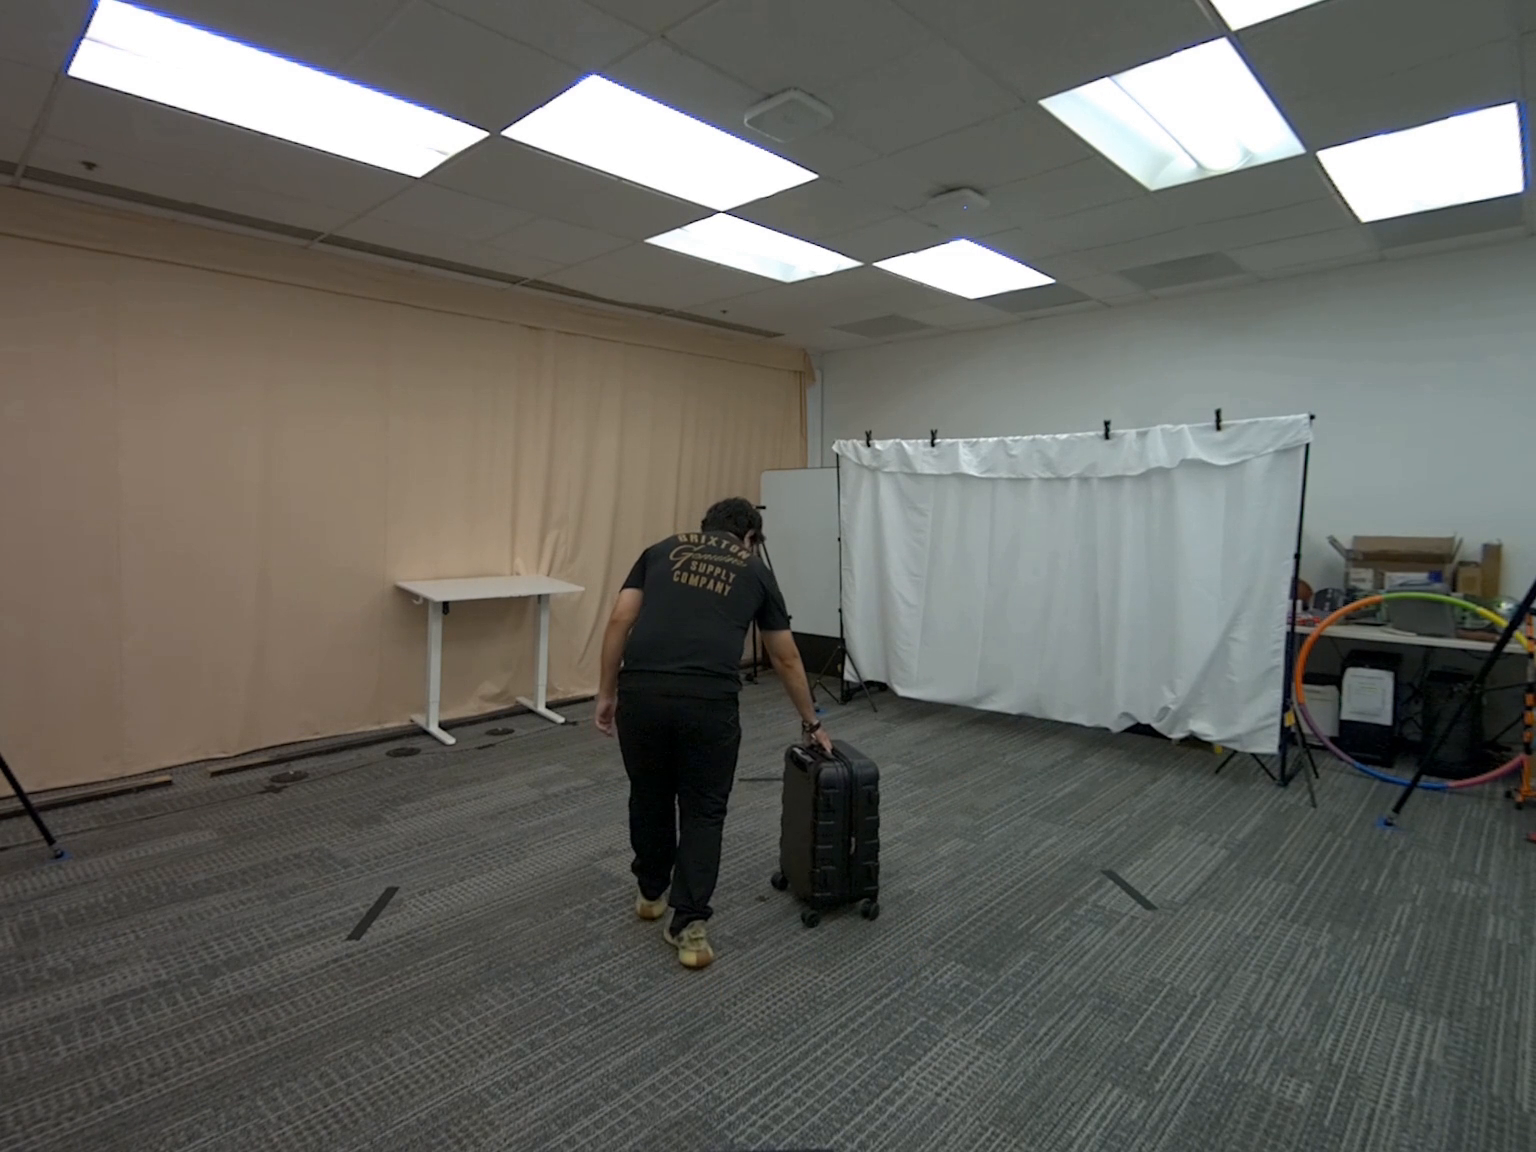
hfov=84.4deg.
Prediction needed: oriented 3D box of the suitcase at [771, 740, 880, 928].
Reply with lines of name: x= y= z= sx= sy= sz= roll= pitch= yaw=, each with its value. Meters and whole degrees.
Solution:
suitcase: x=0.220 y=0.873 z=2.957 sx=0.244 sy=0.549 sz=0.382 roll=-1 pitch=2 yaw=-17
